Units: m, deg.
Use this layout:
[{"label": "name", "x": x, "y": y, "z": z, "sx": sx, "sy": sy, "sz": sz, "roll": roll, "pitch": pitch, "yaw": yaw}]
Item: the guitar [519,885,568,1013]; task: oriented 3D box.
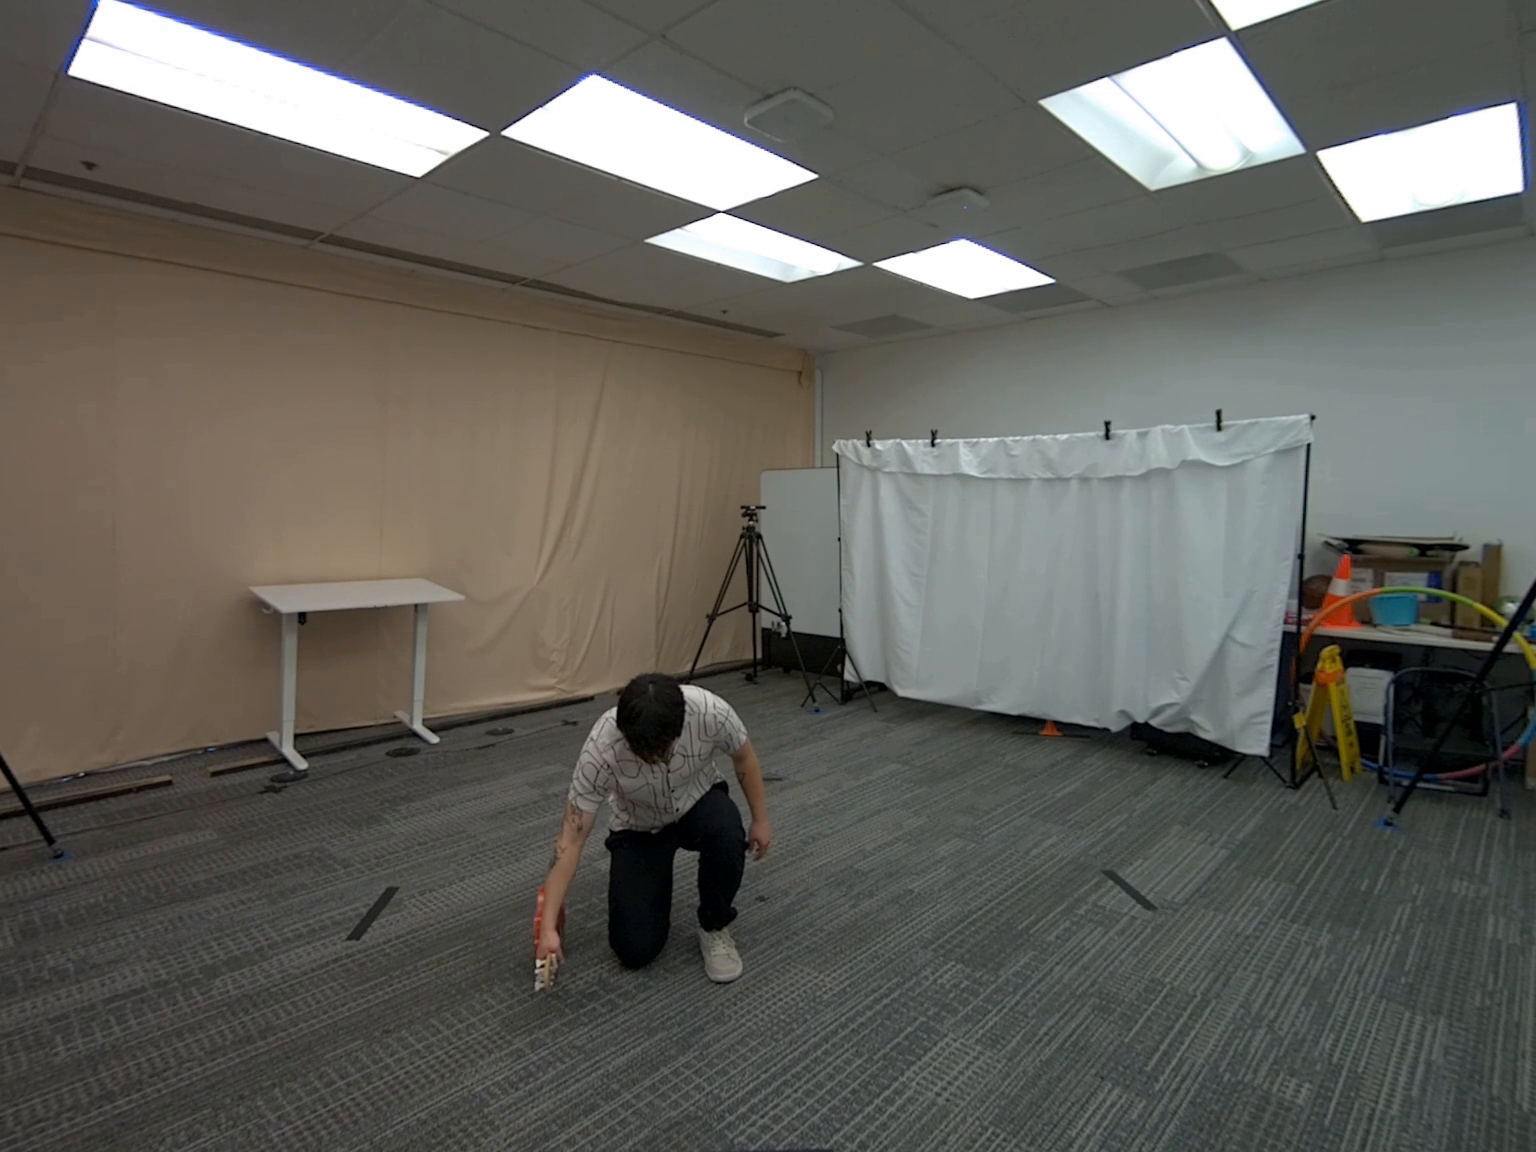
[{"label": "guitar", "x": -0.642, "y": 1.049, "z": 2.440, "sx": 0.070, "sy": 0.194, "sz": 0.499, "roll": -4, "pitch": -6, "yaw": -9}]
